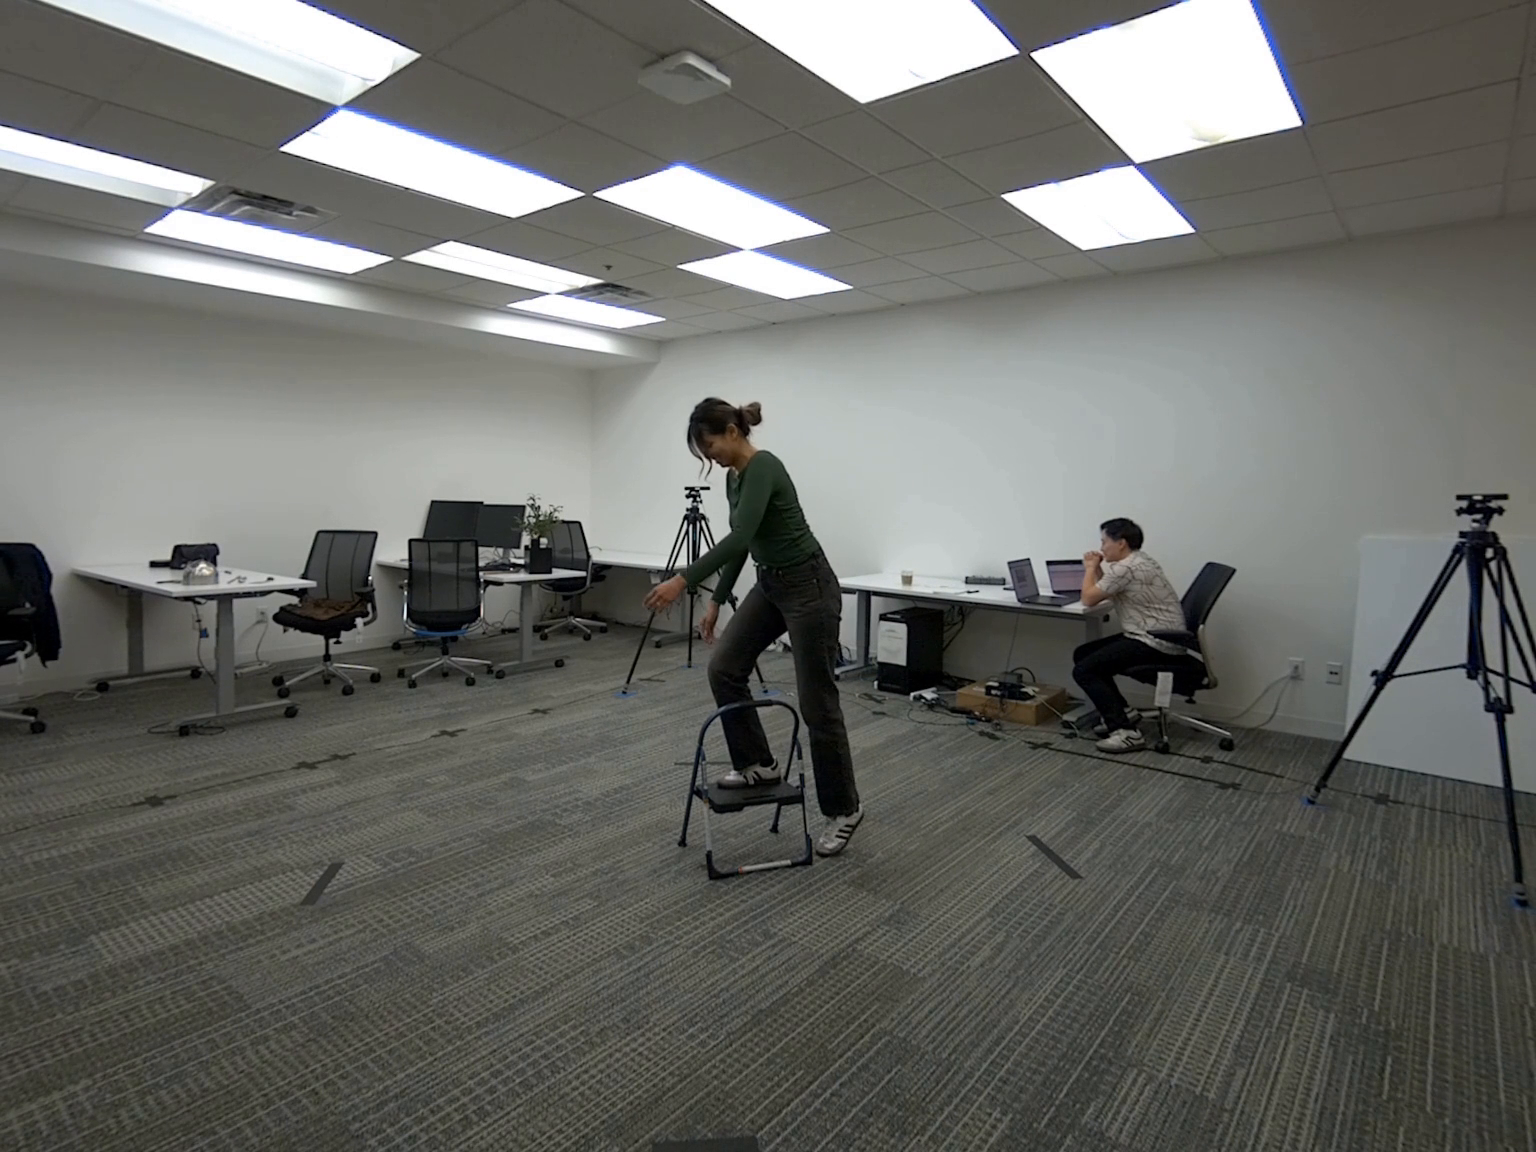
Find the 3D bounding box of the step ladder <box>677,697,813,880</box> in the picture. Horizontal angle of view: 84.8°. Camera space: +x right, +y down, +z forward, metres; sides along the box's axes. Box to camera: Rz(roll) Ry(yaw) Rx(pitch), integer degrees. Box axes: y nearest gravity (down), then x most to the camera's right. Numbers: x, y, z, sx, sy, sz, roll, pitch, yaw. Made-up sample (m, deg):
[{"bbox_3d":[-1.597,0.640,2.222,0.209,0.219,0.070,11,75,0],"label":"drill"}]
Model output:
[{"bbox_3d":[-0.097,0.754,3.224,0.421,0.604,0.358,-1,4,-24],"label":"step ladder"}]
